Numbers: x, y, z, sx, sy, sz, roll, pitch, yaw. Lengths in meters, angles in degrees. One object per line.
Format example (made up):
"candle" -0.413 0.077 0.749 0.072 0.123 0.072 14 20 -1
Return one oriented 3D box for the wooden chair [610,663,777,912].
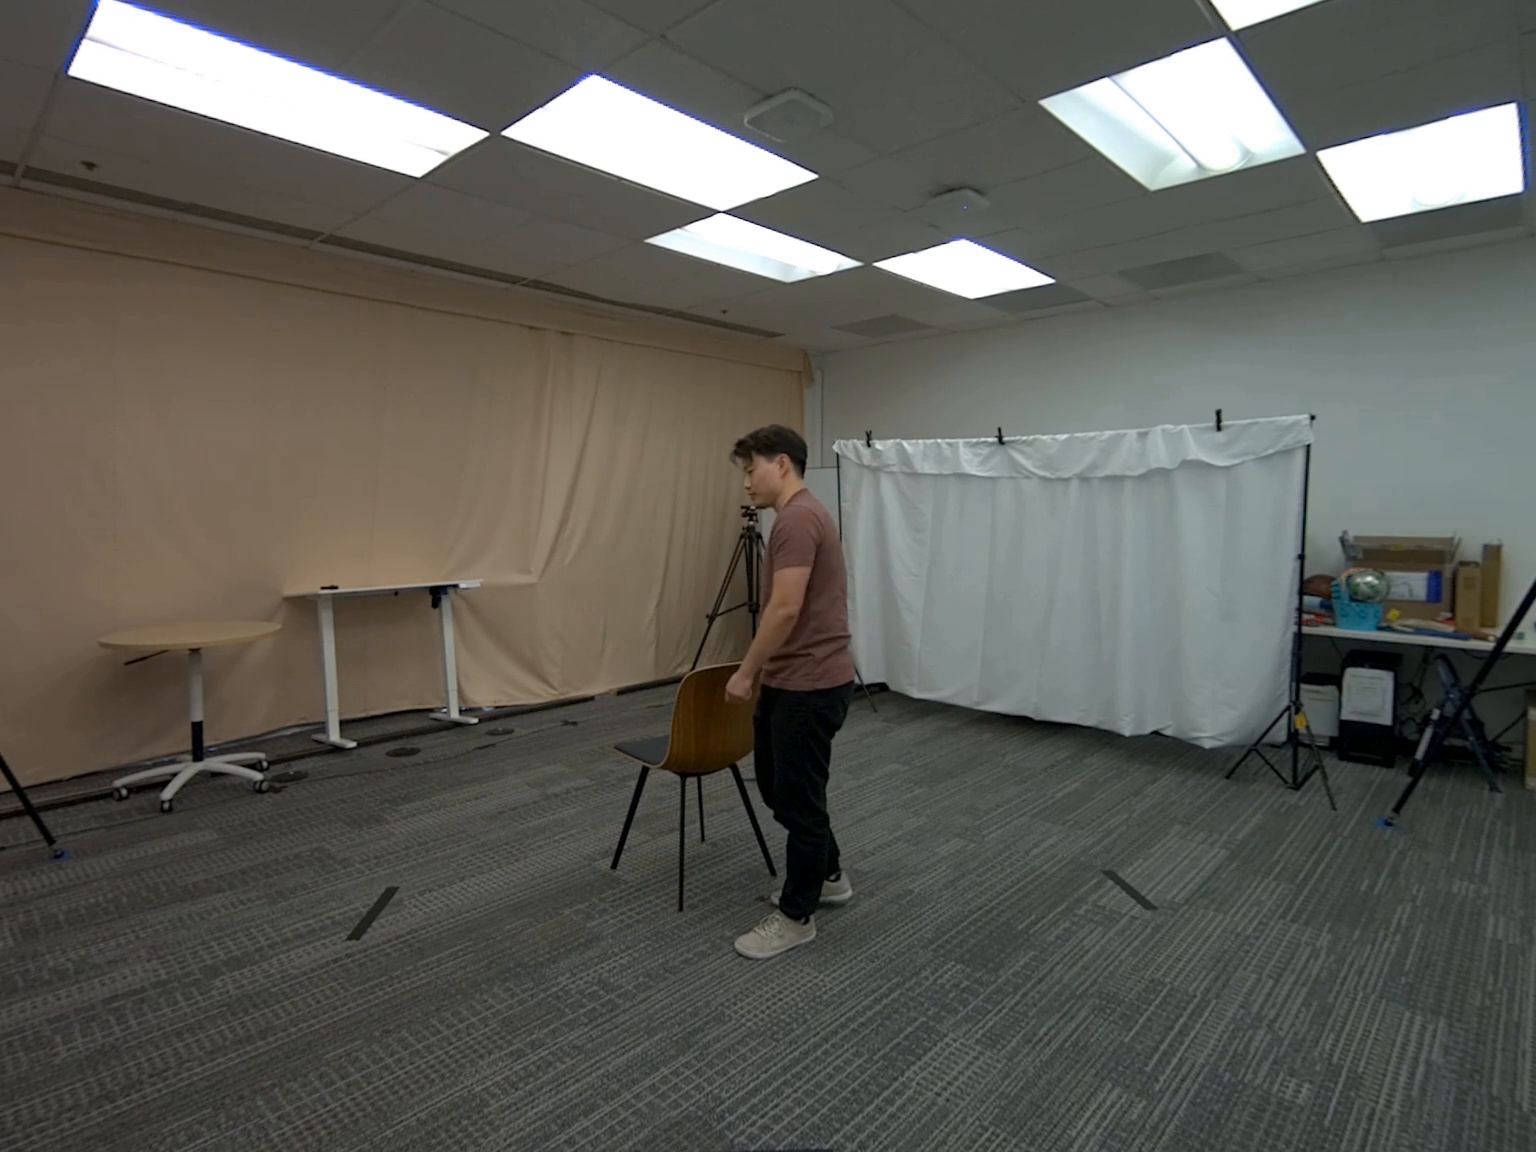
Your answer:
"wooden chair" -0.296 0.702 3.179 0.464 0.874 0.541 -3 9 -40
